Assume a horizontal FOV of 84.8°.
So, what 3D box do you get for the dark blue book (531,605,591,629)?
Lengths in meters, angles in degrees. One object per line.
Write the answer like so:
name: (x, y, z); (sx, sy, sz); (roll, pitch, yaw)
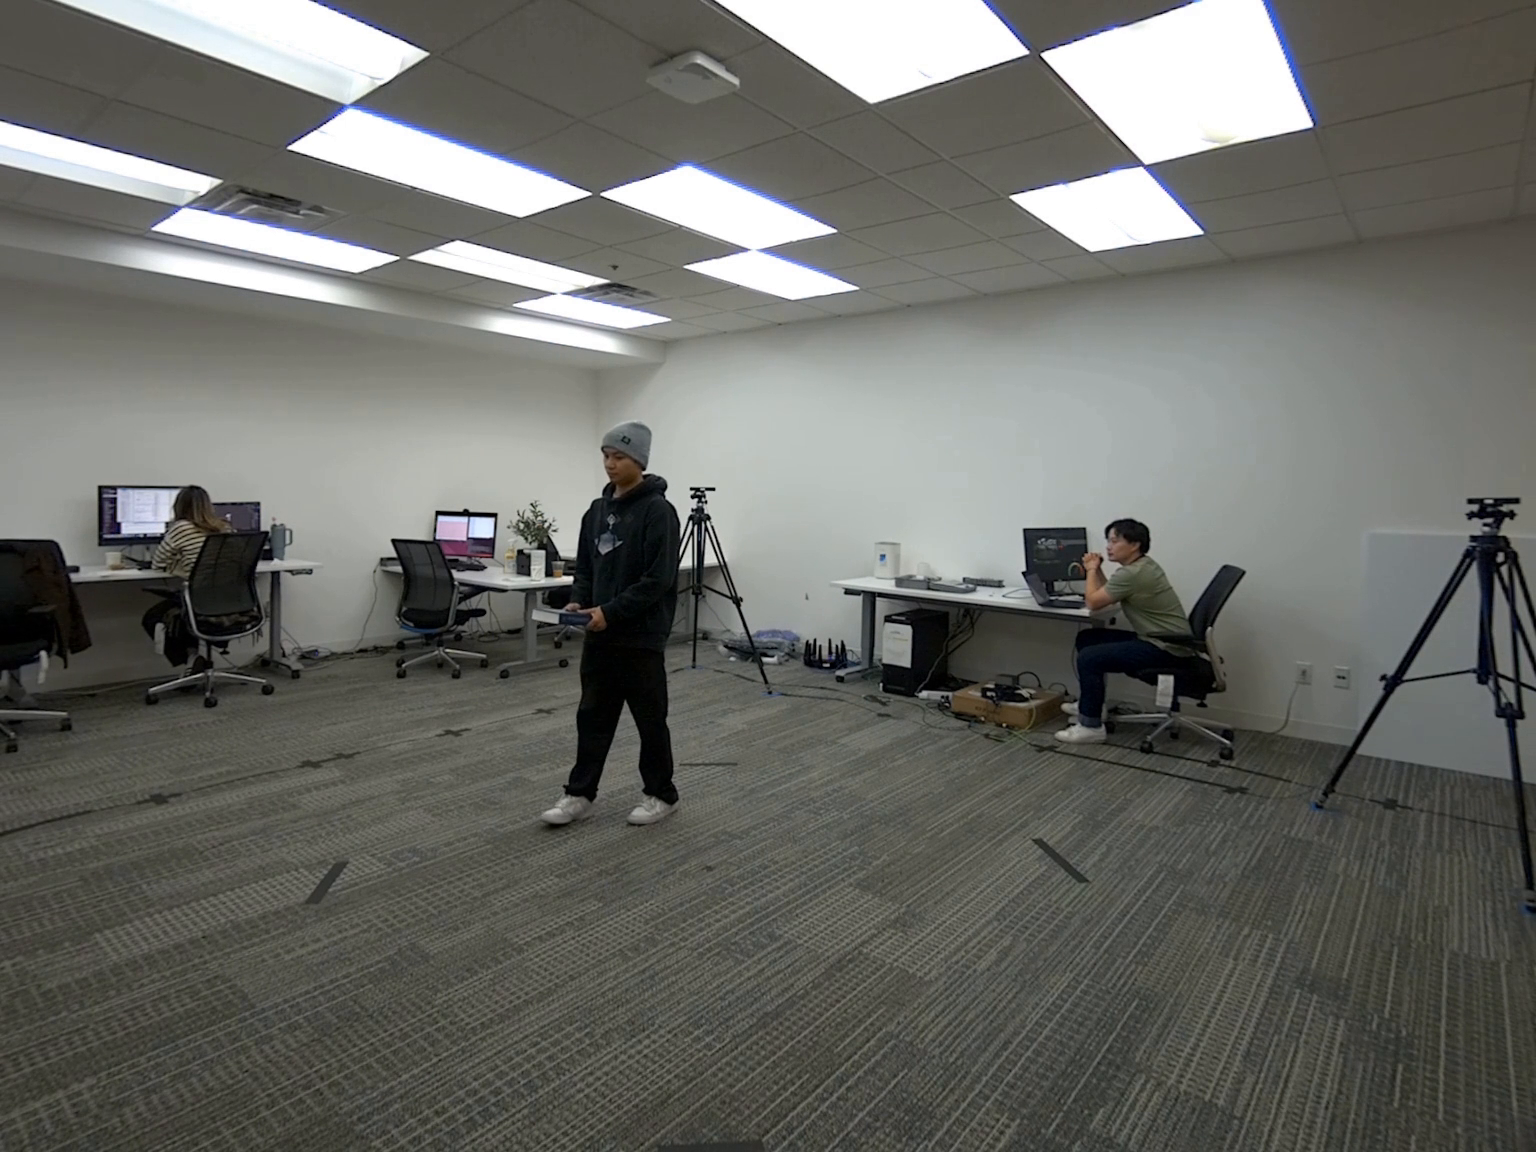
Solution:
dark blue book: (-0.823, 0.159, 3.339); (0.168, 0.045, 0.237); (7, 0, 29)
